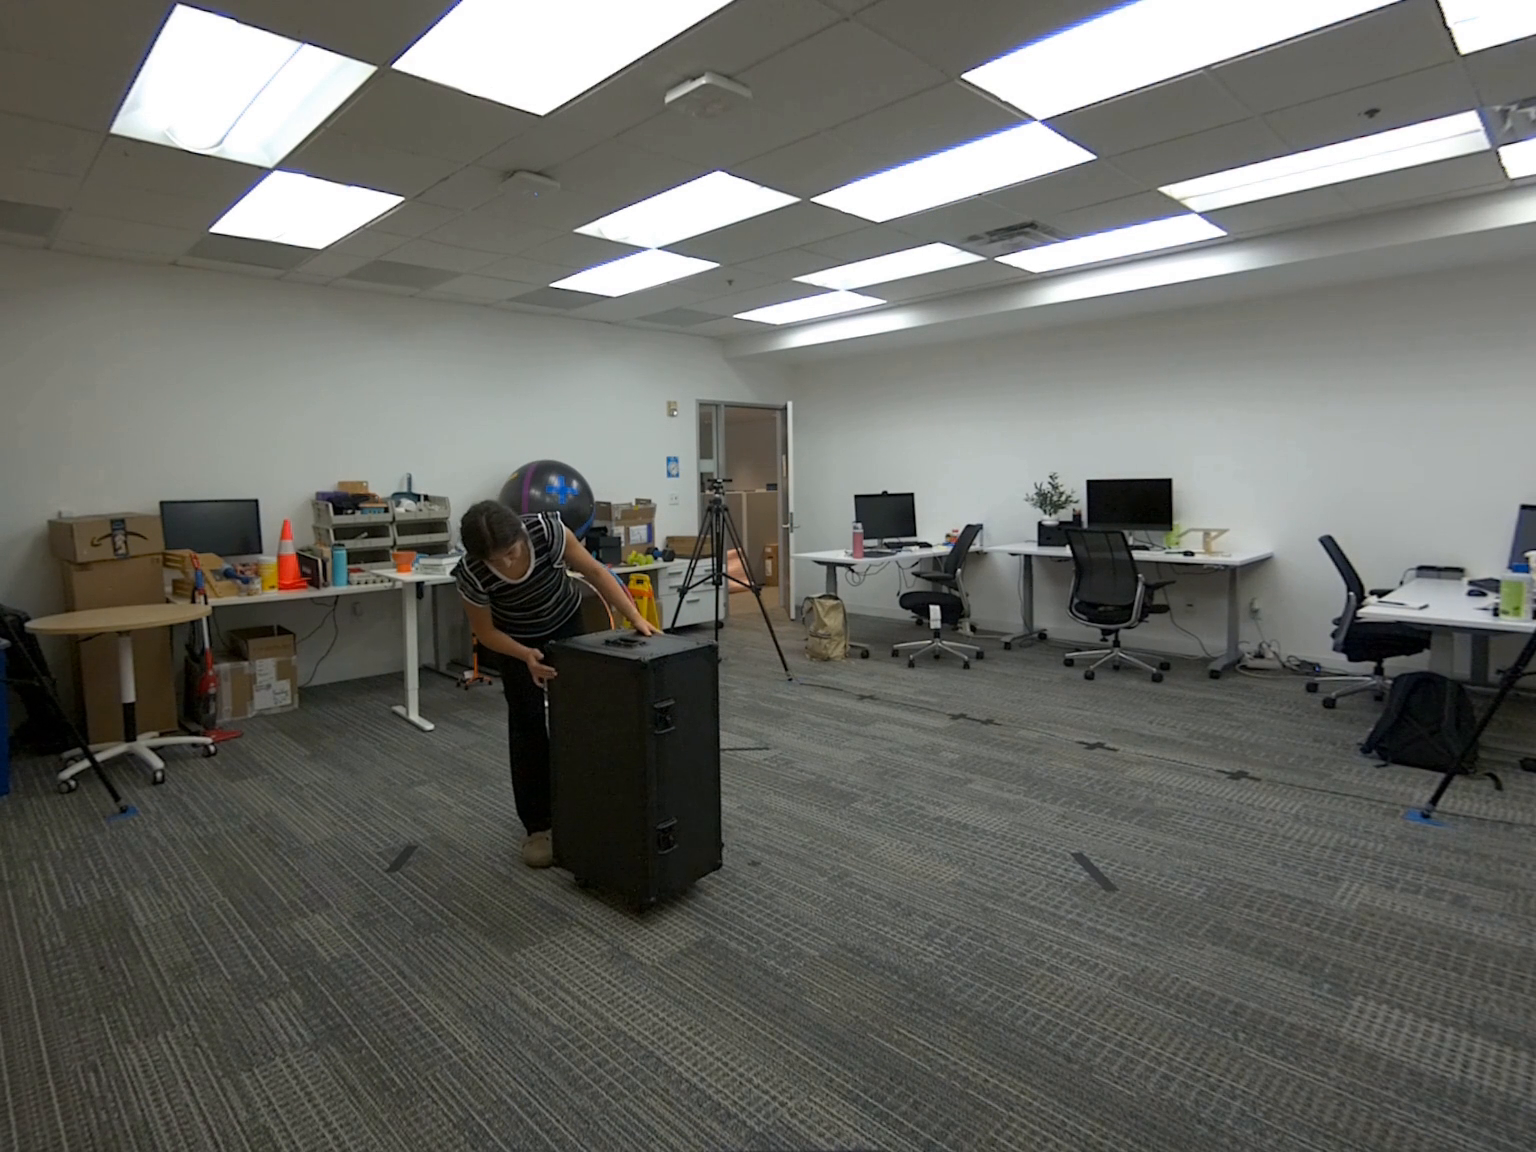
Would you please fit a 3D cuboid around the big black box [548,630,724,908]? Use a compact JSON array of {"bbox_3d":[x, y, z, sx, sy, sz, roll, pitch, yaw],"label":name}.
[{"bbox_3d":[-0.449,0.650,2.922,0.537,0.859,0.386,2,5,39],"label":"big black box"}]
